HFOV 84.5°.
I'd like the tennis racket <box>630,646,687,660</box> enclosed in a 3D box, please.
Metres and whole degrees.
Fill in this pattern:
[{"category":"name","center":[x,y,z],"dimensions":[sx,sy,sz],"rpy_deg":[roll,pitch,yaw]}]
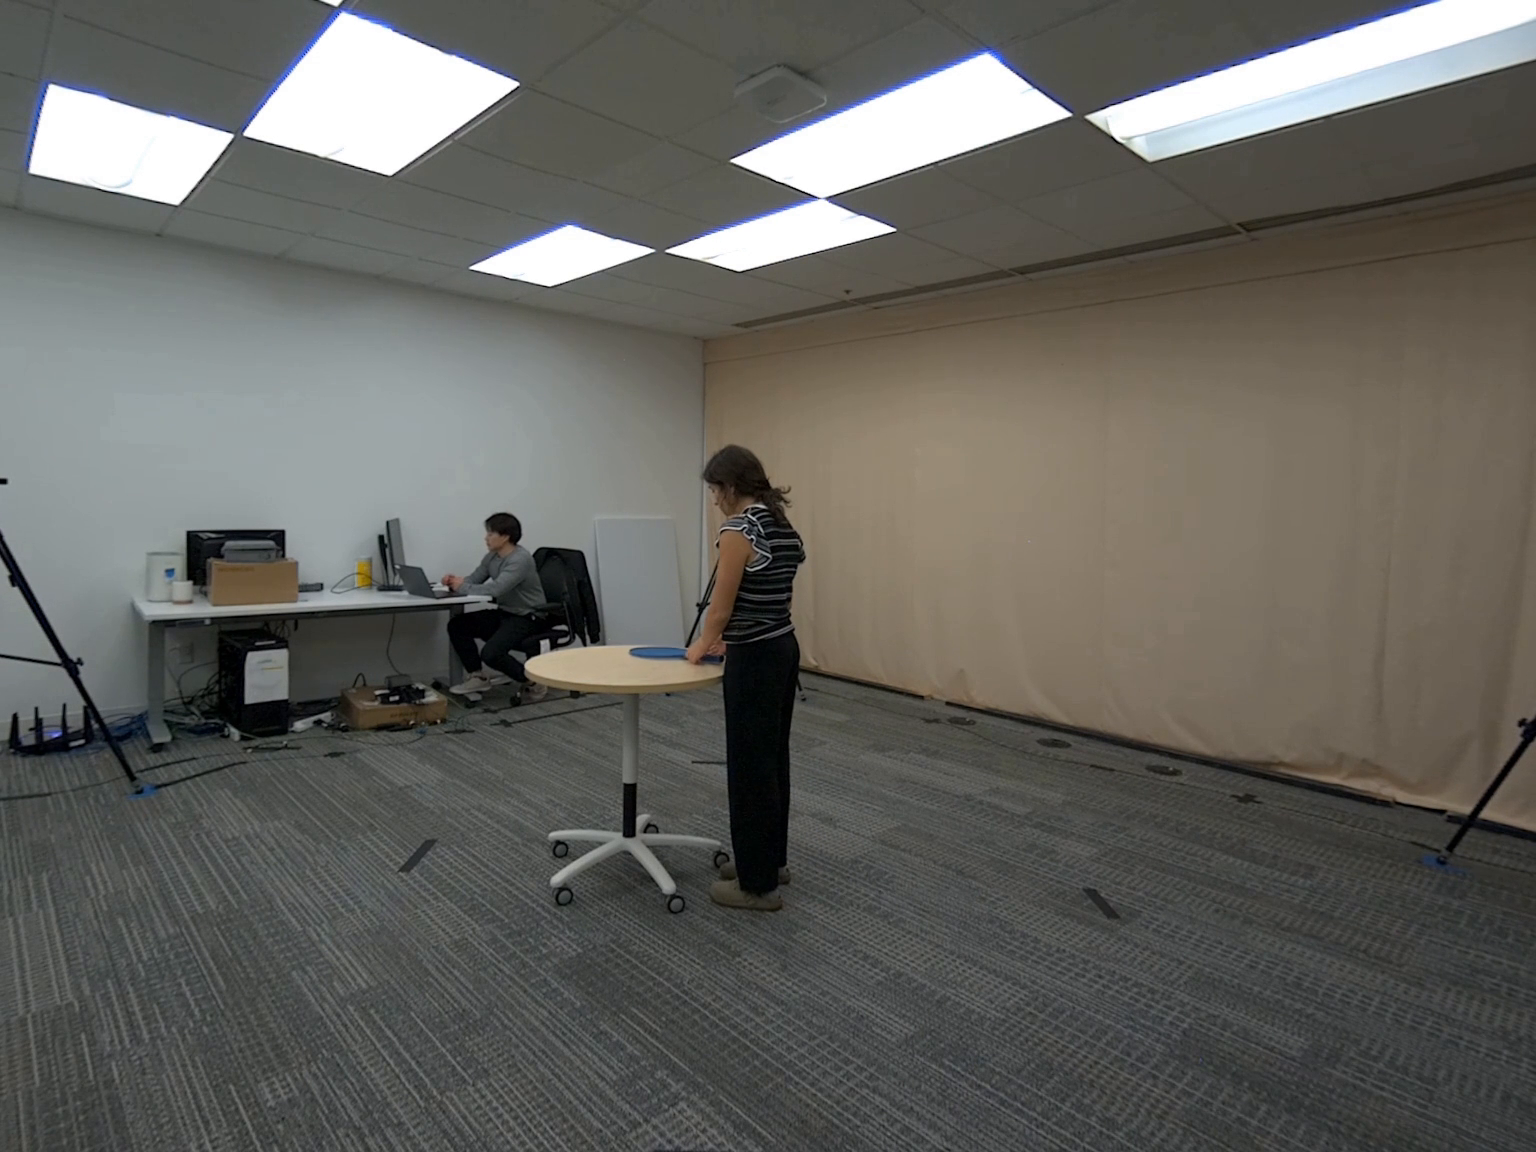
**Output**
[{"category":"tennis racket","center":[-0.356,0.301,3.223],"dimensions":[0.443,0.031,0.209],"rpy_deg":[4,6,34]}]
